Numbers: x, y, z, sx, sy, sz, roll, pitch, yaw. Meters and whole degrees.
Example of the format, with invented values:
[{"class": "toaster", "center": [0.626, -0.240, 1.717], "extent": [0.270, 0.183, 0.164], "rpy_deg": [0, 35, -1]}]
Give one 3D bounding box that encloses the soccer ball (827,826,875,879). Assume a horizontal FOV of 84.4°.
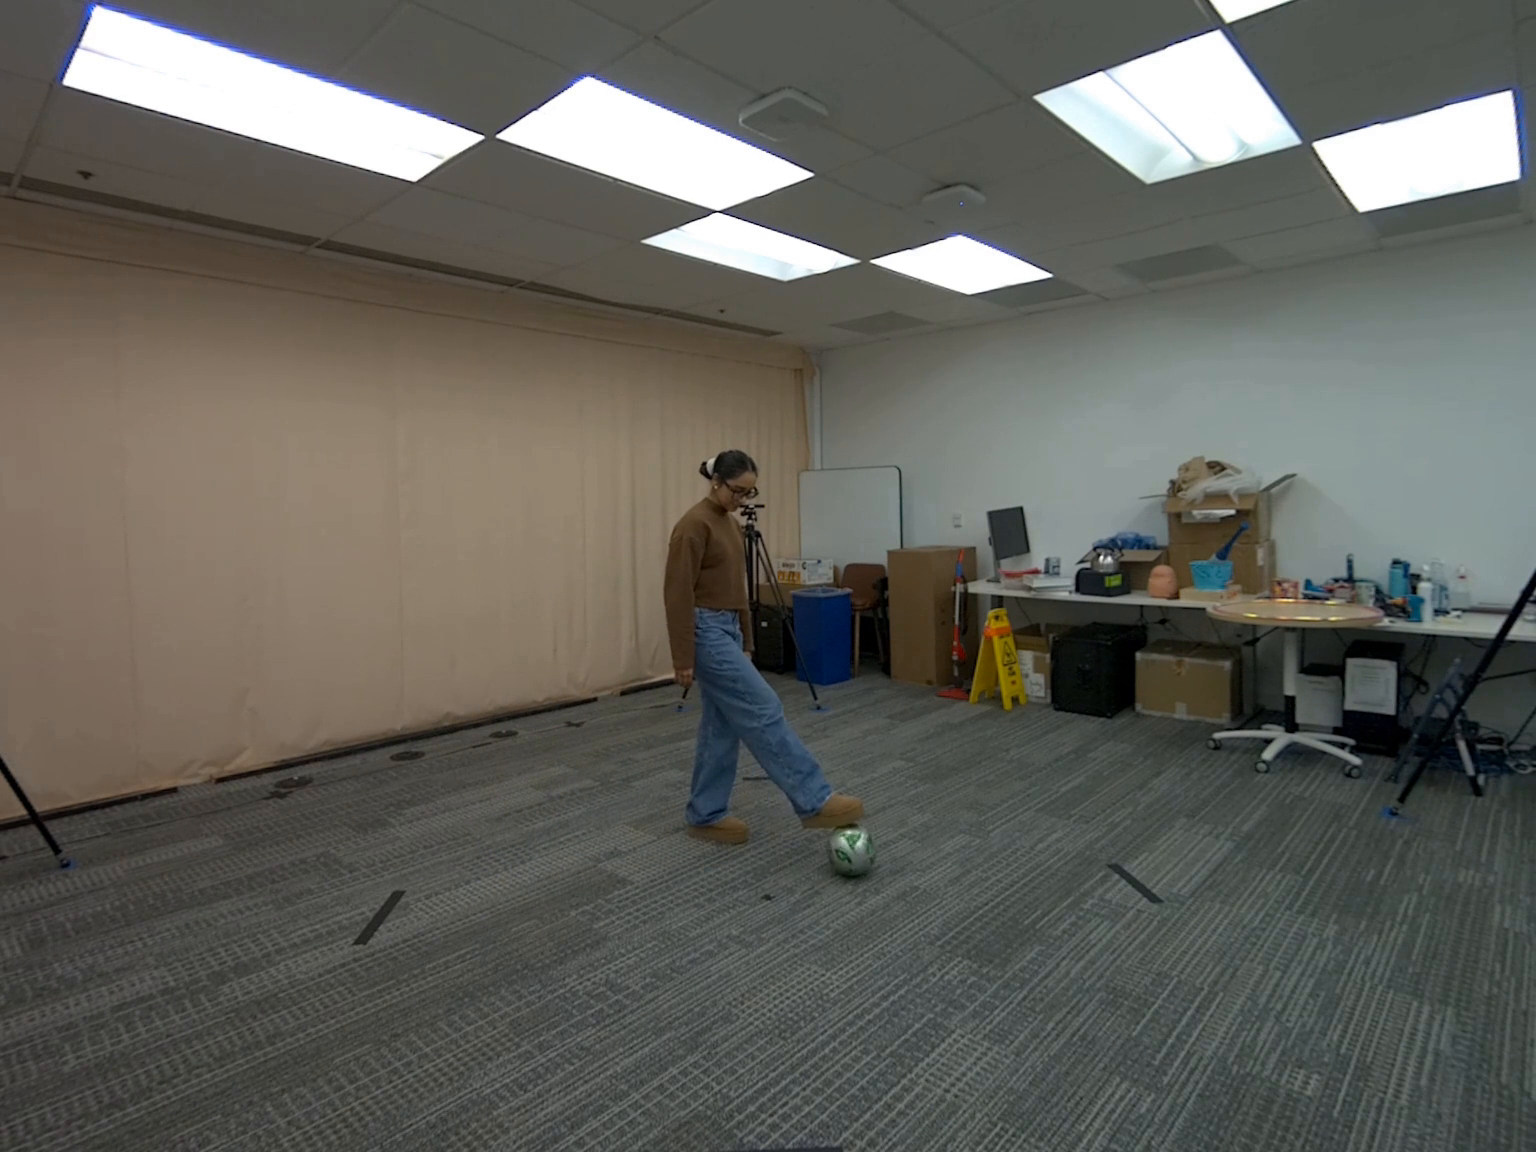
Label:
[{"class": "soccer ball", "center": [0.303, 1.023, 3.155], "extent": [0.187, 0.187, 0.188], "rpy_deg": [-1, 4, -2]}]
